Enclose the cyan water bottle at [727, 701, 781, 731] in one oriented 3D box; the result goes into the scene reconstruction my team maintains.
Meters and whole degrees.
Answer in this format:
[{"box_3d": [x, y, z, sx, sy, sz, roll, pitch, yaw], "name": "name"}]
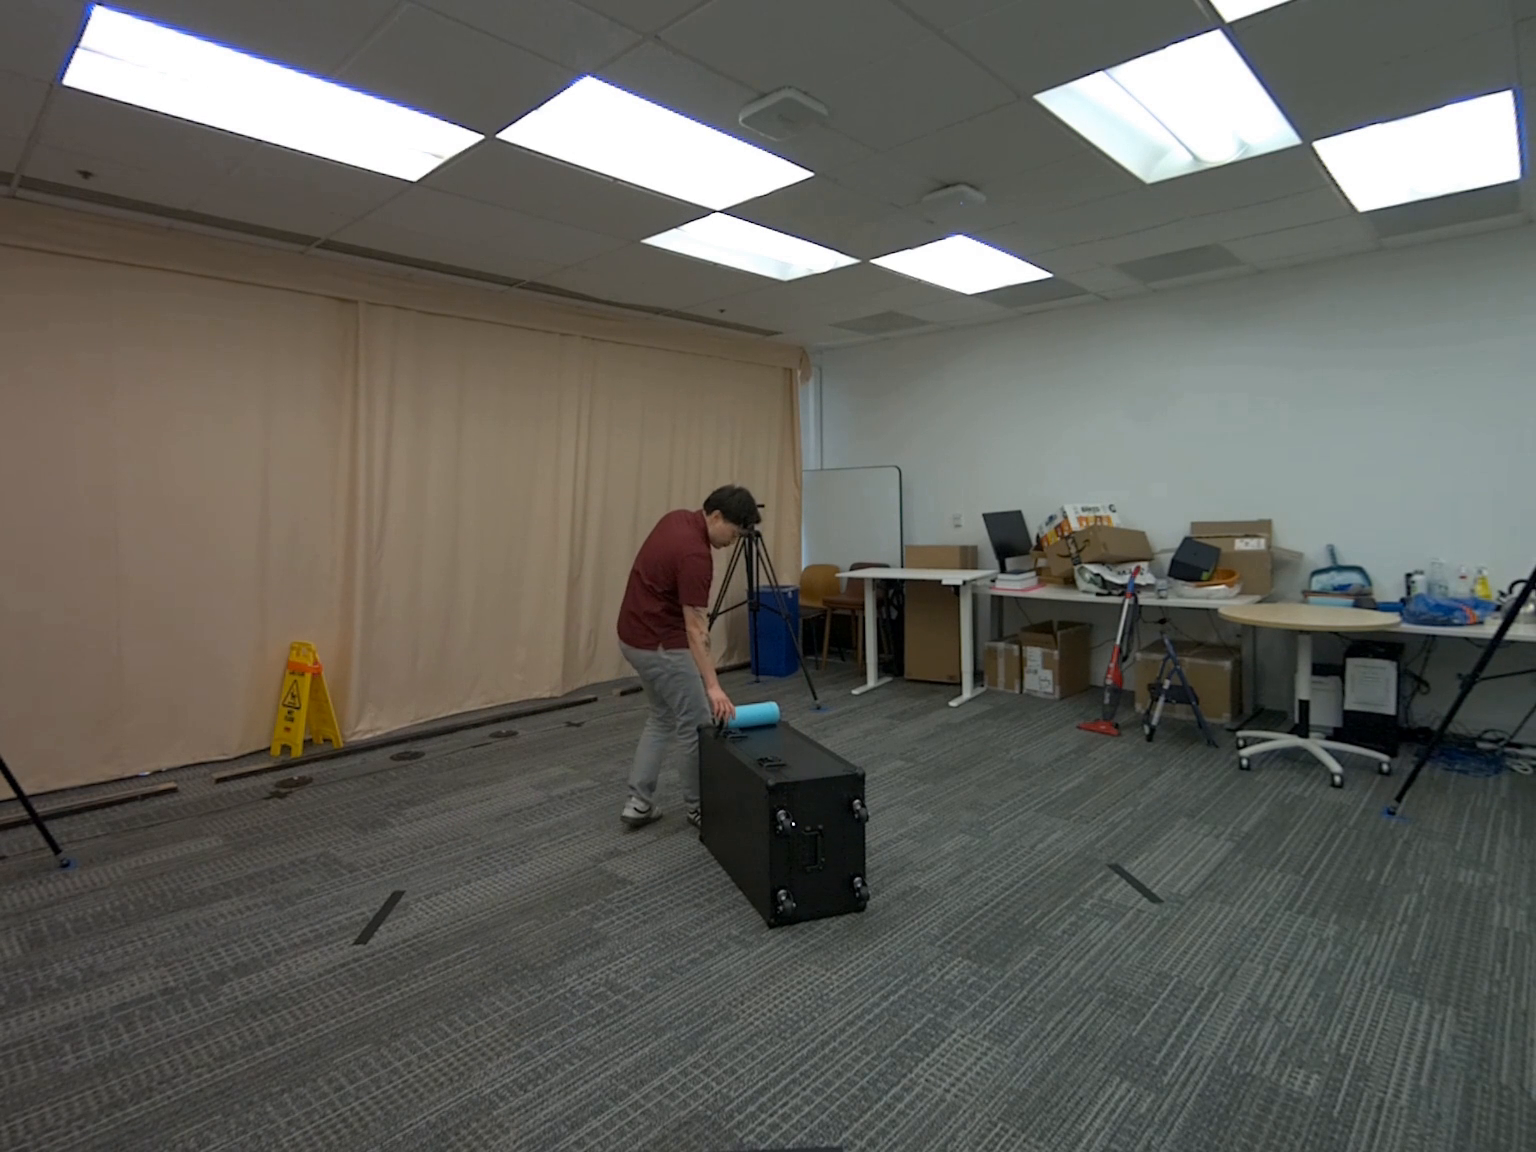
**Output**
[{"box_3d": [-0.085, 0.568, 3.438, 0.277, 0.092, 0.094, -5, 5, -21], "name": "cyan water bottle"}]
